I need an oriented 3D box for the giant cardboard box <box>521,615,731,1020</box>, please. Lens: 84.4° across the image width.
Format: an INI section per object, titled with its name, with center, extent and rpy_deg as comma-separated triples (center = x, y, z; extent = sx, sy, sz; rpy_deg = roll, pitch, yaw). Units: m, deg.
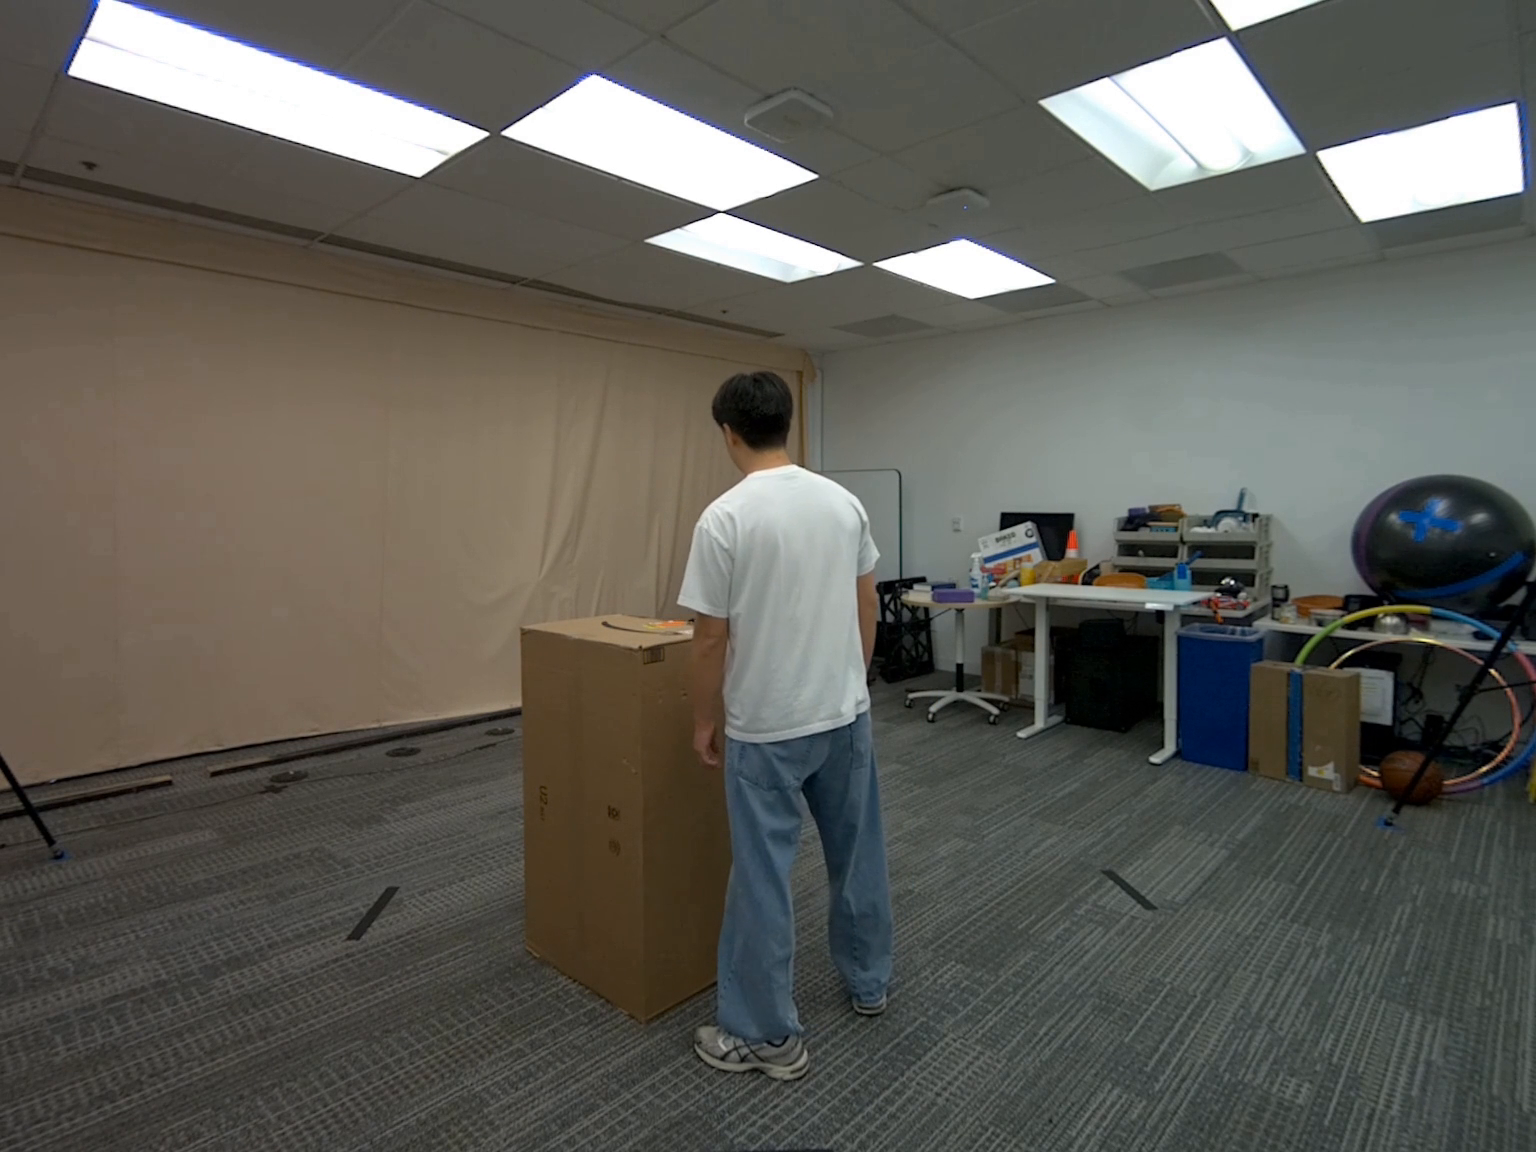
[giant cardboard box]
center = -0.415, 0.671, 2.587
extent = 0.597, 1.024, 0.413
rpy_deg = 3, 4, 42
